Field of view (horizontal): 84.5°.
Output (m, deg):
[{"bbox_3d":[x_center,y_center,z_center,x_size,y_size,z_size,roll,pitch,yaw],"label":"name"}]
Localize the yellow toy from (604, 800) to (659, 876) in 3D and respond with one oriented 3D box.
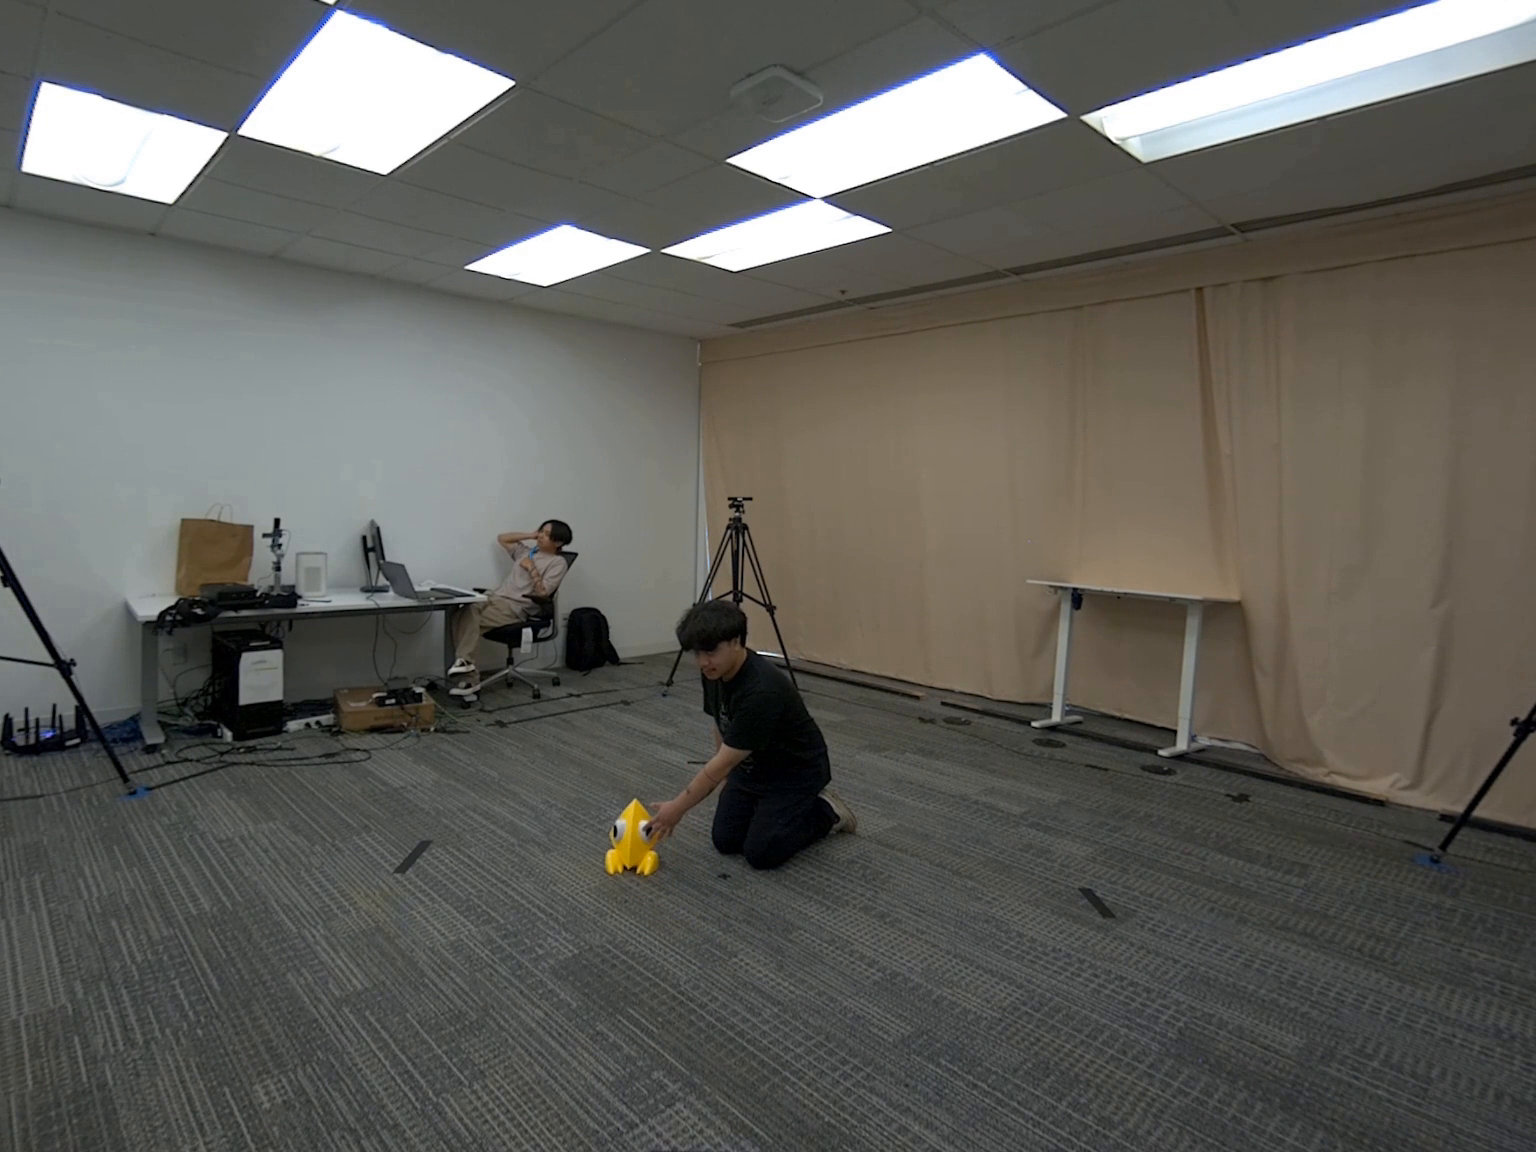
[{"bbox_3d":[-0.519,0.980,3.176,0.205,0.230,0.193,1,3,2],"label":"yellow toy"}]
